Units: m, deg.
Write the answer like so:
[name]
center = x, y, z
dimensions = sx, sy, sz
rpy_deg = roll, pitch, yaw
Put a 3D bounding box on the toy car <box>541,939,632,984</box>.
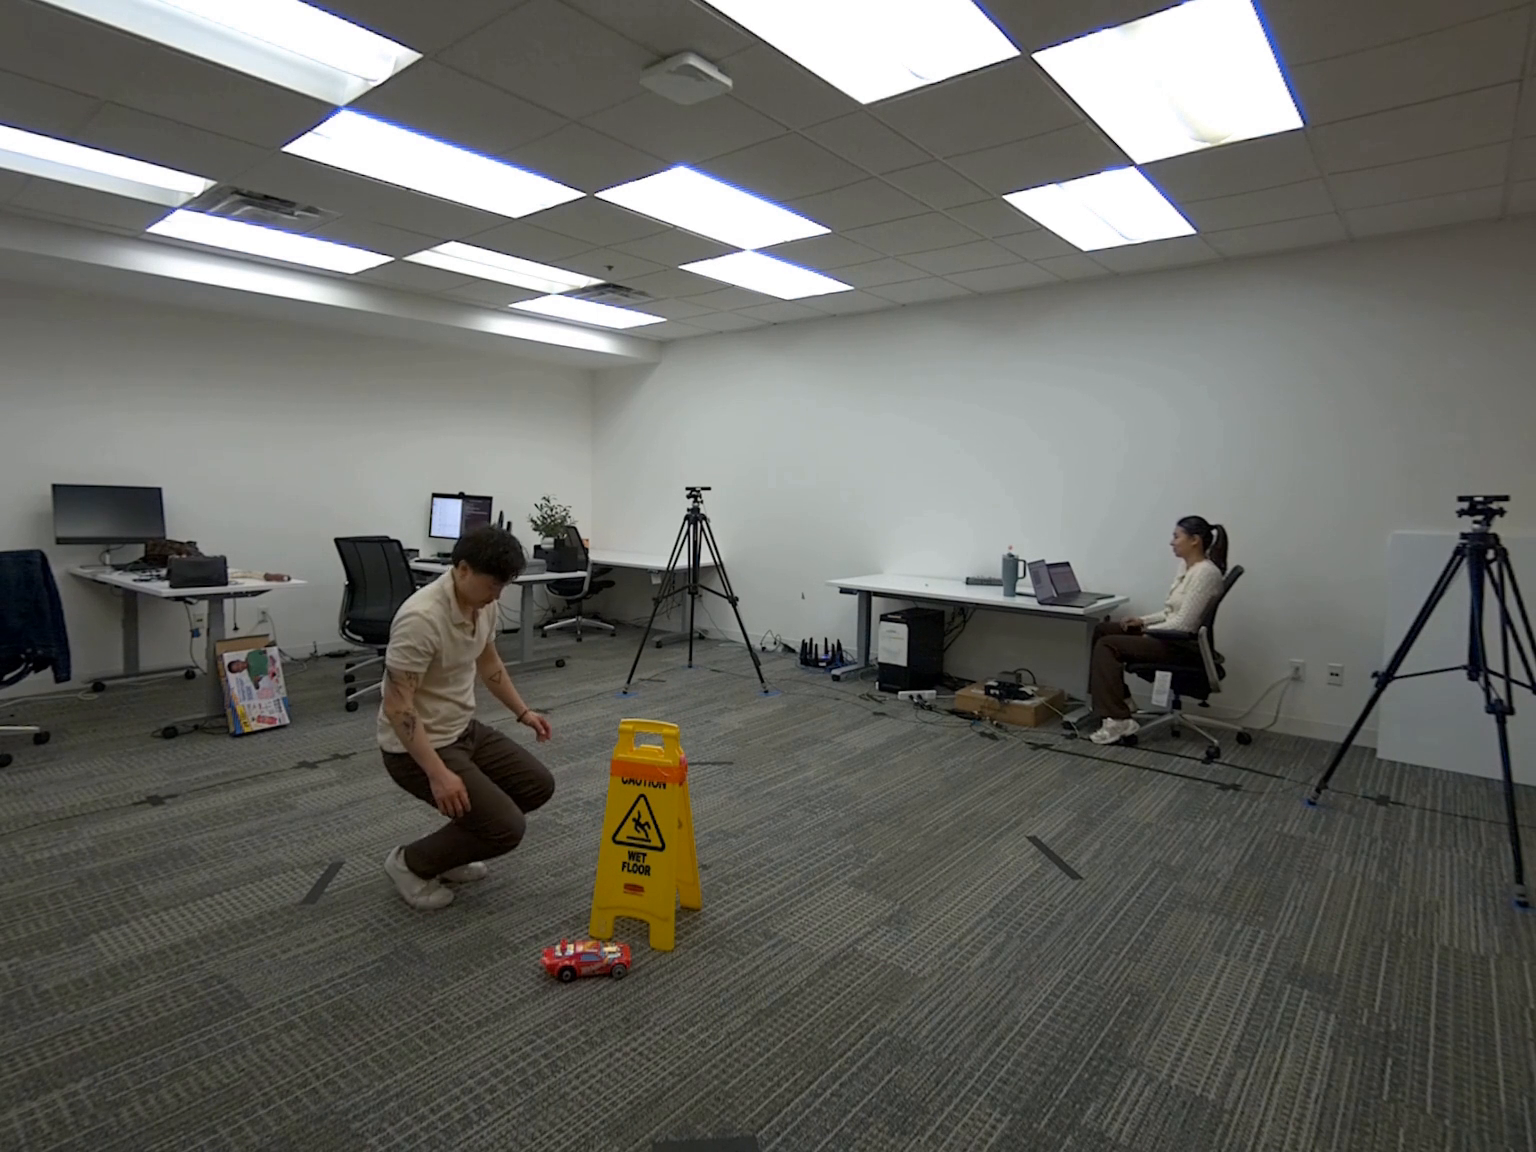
[toy car]
center = -0.536, 1.097, 2.432
dimensions = 0.252, 0.083, 0.132
rpy_deg = 12, 2, -9
